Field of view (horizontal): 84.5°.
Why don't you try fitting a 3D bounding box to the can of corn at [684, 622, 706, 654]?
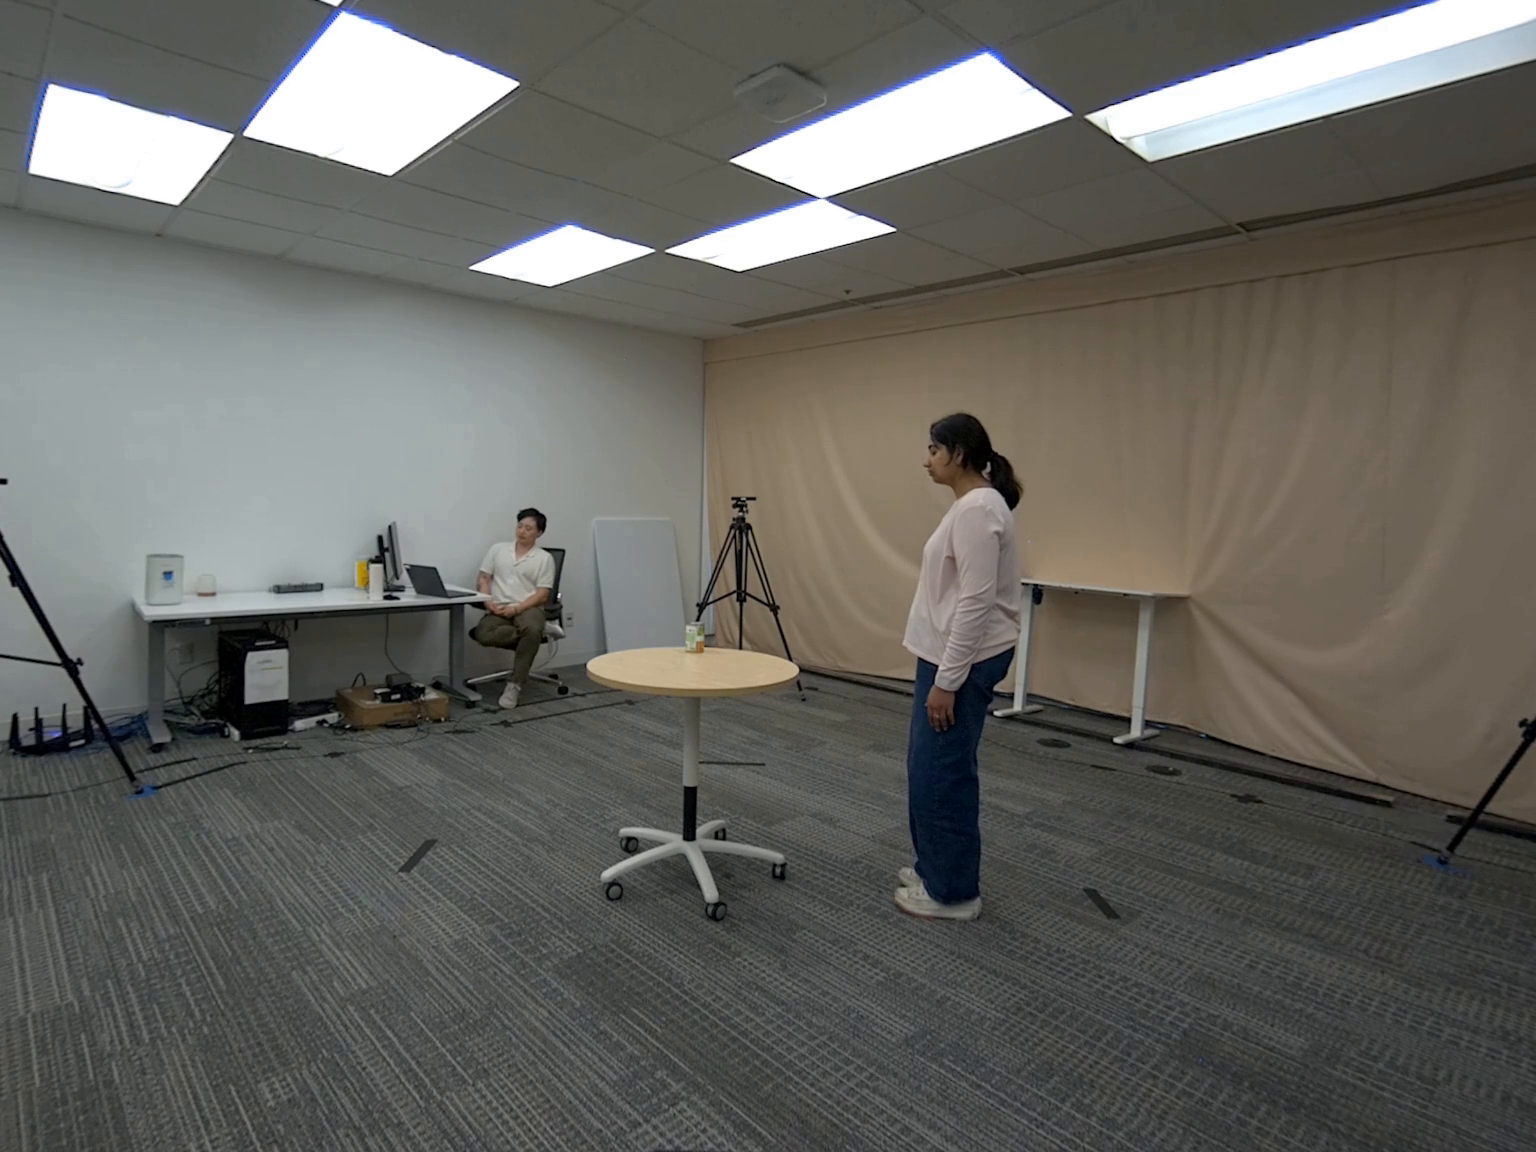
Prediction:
[{"bbox_3d":[-0.290,0.241,3.325,0.074,0.111,0.074,1,3,-1],"label":"can of corn"}]
